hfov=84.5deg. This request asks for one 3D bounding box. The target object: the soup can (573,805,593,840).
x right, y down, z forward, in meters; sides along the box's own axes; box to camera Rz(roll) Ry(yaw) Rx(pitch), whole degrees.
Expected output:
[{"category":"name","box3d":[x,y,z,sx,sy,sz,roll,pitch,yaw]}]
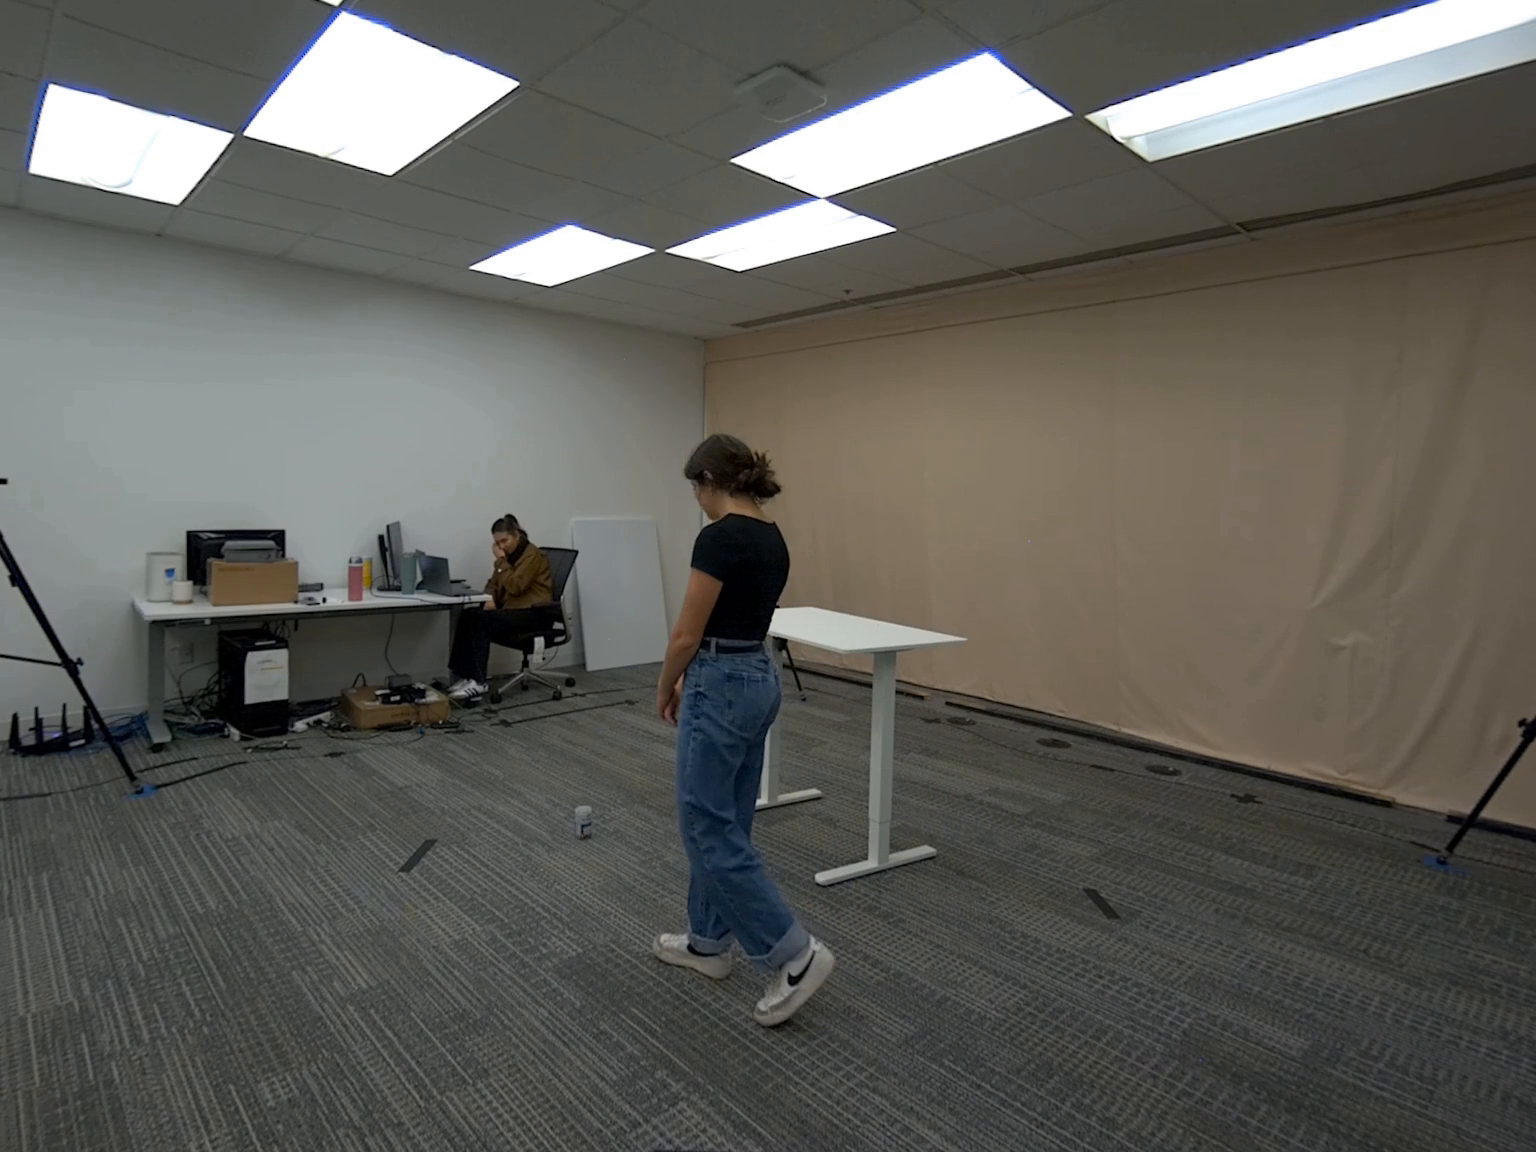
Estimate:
[{"category":"soup can","box3d":[-0.753,0.998,3.425,0.067,0.121,0.067,1,-1,-1]}]
